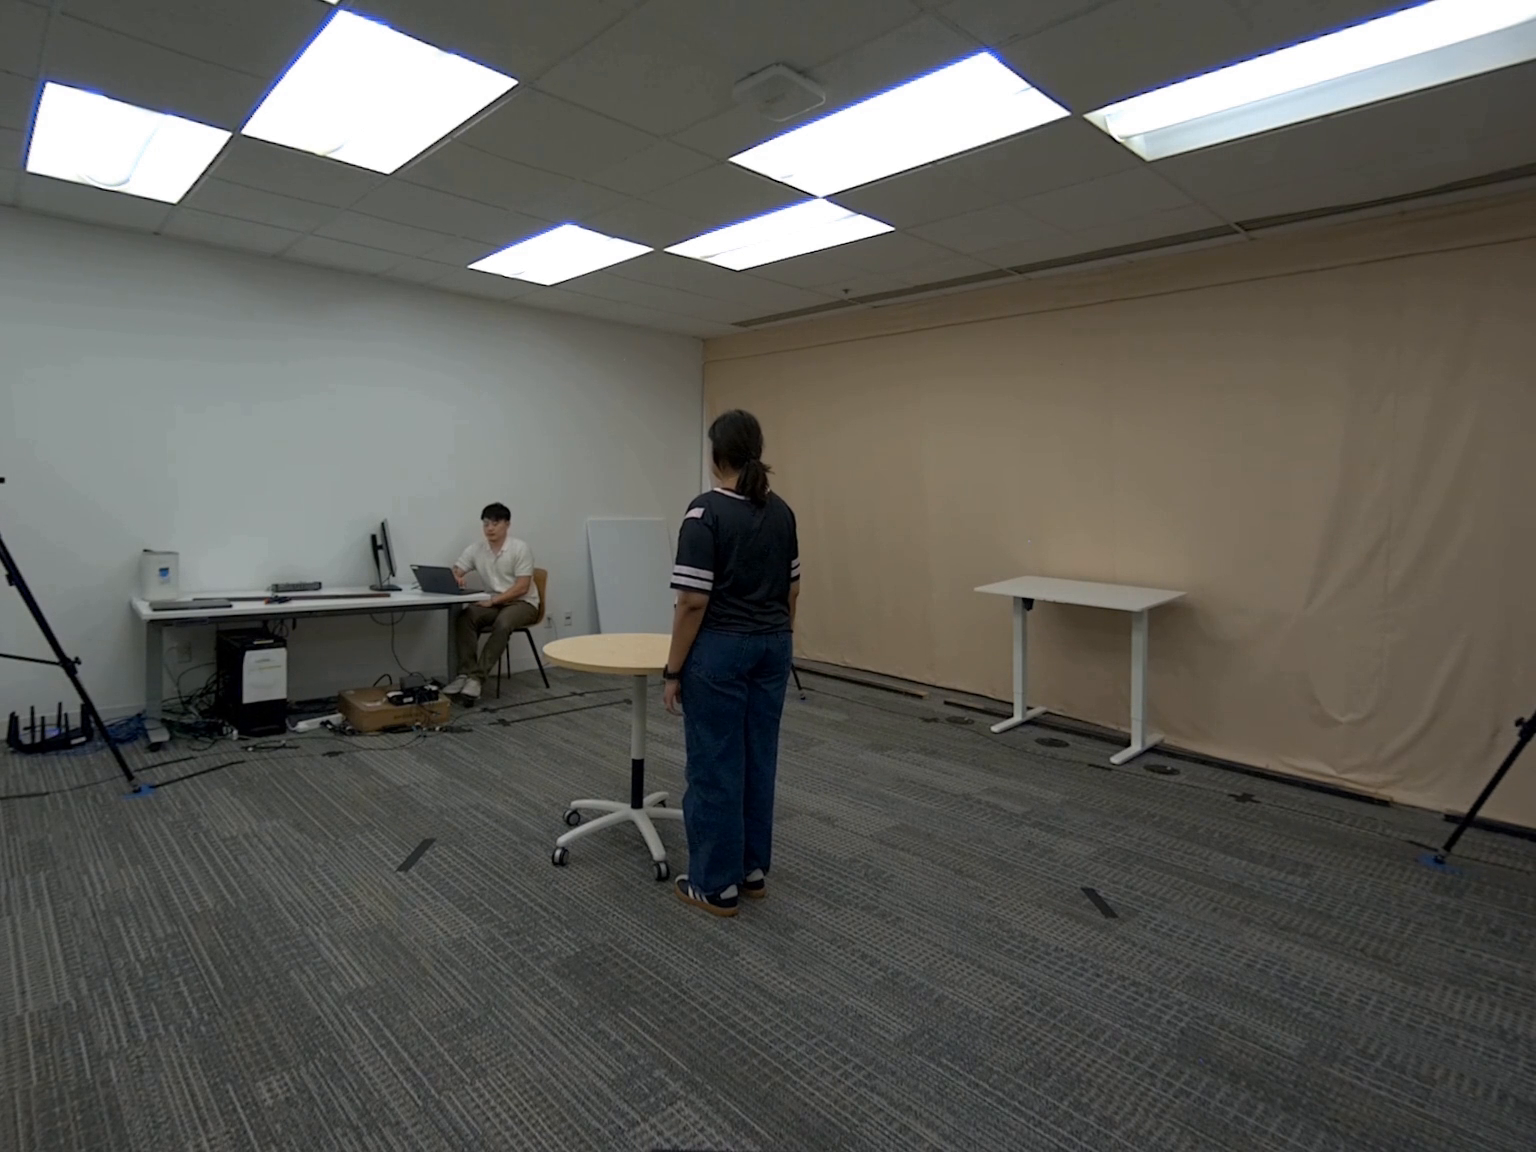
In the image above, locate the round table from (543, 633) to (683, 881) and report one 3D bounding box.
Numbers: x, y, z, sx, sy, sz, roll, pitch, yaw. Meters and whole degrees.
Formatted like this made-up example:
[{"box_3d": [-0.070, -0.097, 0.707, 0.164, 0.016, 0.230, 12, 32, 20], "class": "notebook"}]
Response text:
[{"box_3d": [-0.527, 0.680, 3.357, 0.784, 0.785, 0.787, 2, 3, -1], "class": "round table"}]
